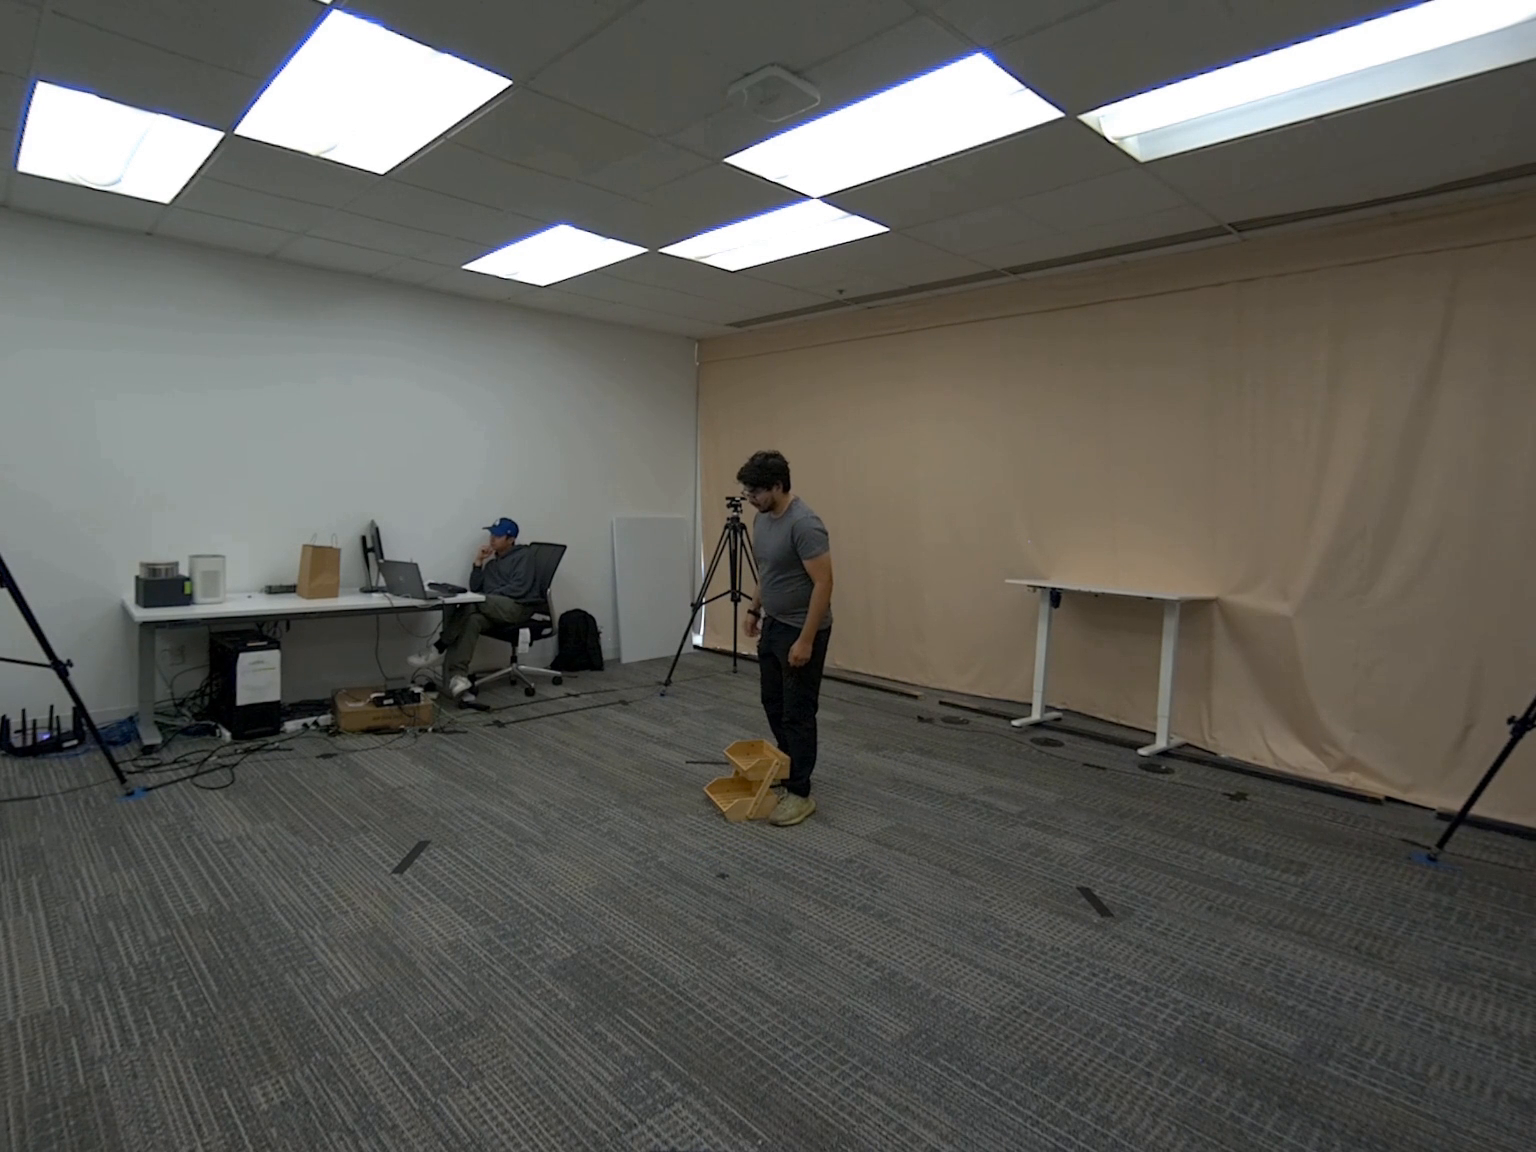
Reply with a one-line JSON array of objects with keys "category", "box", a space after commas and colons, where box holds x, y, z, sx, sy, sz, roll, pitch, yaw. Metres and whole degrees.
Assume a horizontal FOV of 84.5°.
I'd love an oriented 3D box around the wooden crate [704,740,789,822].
[{"category": "wooden crate", "box": [-0.114, 0.912, 3.814, 0.297, 0.273, 0.330, 1, 4, -21]}]
